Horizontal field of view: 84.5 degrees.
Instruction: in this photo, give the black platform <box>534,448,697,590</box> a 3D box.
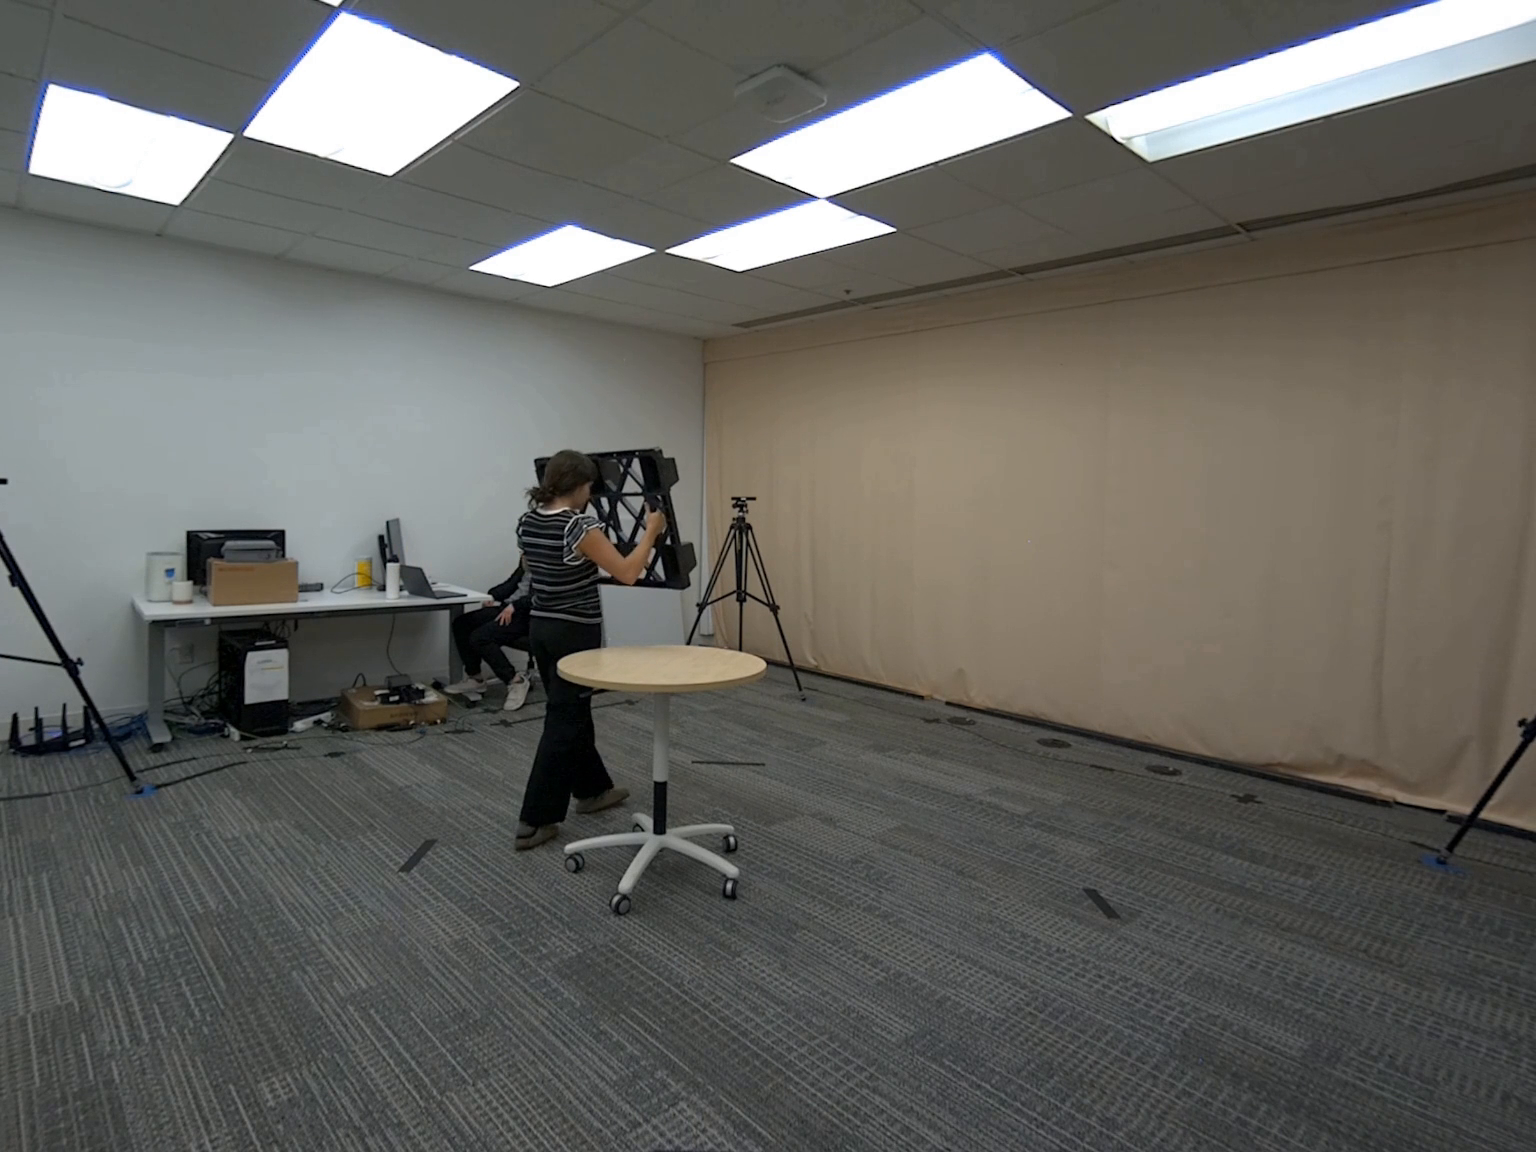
[{"bbox_3d":[-0.678,-0.265,3.690,0.825,0.598,0.141,2,18,40],"label":"black platform"}]
